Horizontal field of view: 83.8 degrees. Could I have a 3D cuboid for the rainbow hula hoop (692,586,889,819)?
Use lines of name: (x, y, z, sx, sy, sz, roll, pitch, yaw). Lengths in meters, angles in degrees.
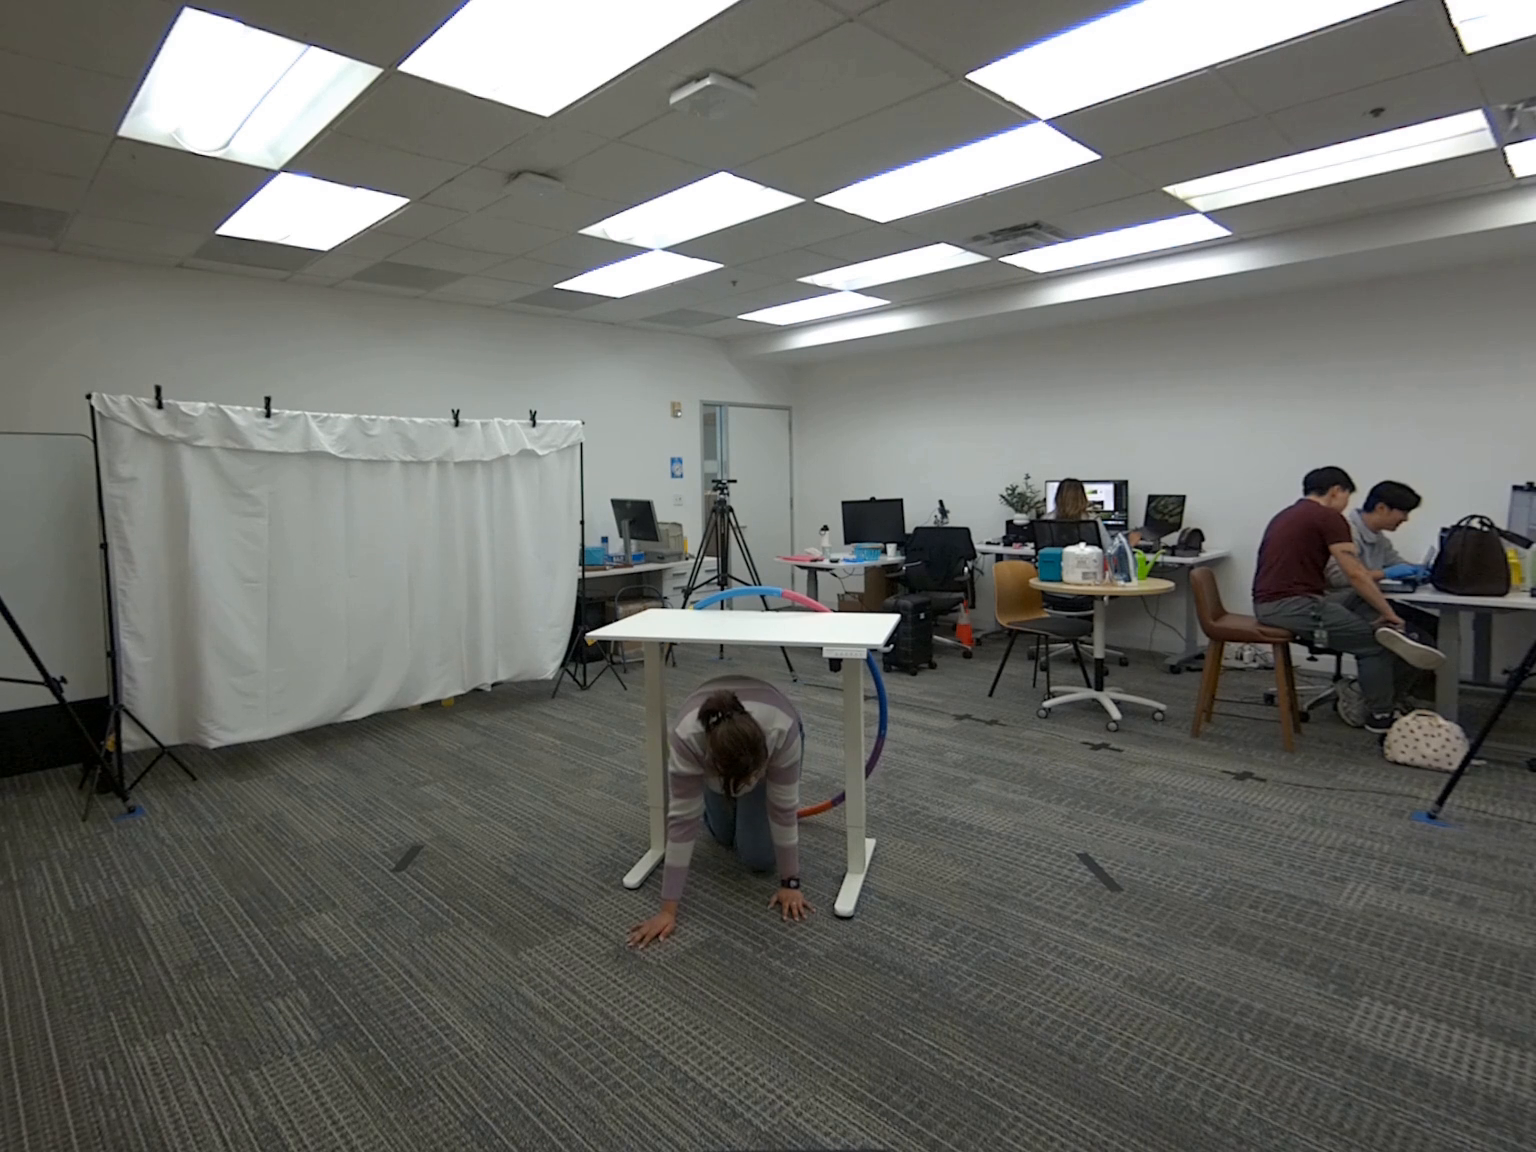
rainbow hula hoop: (-0.006, 0.529, 3.438, 0.994, 0.968, 0.035, 1, 11, 17)
